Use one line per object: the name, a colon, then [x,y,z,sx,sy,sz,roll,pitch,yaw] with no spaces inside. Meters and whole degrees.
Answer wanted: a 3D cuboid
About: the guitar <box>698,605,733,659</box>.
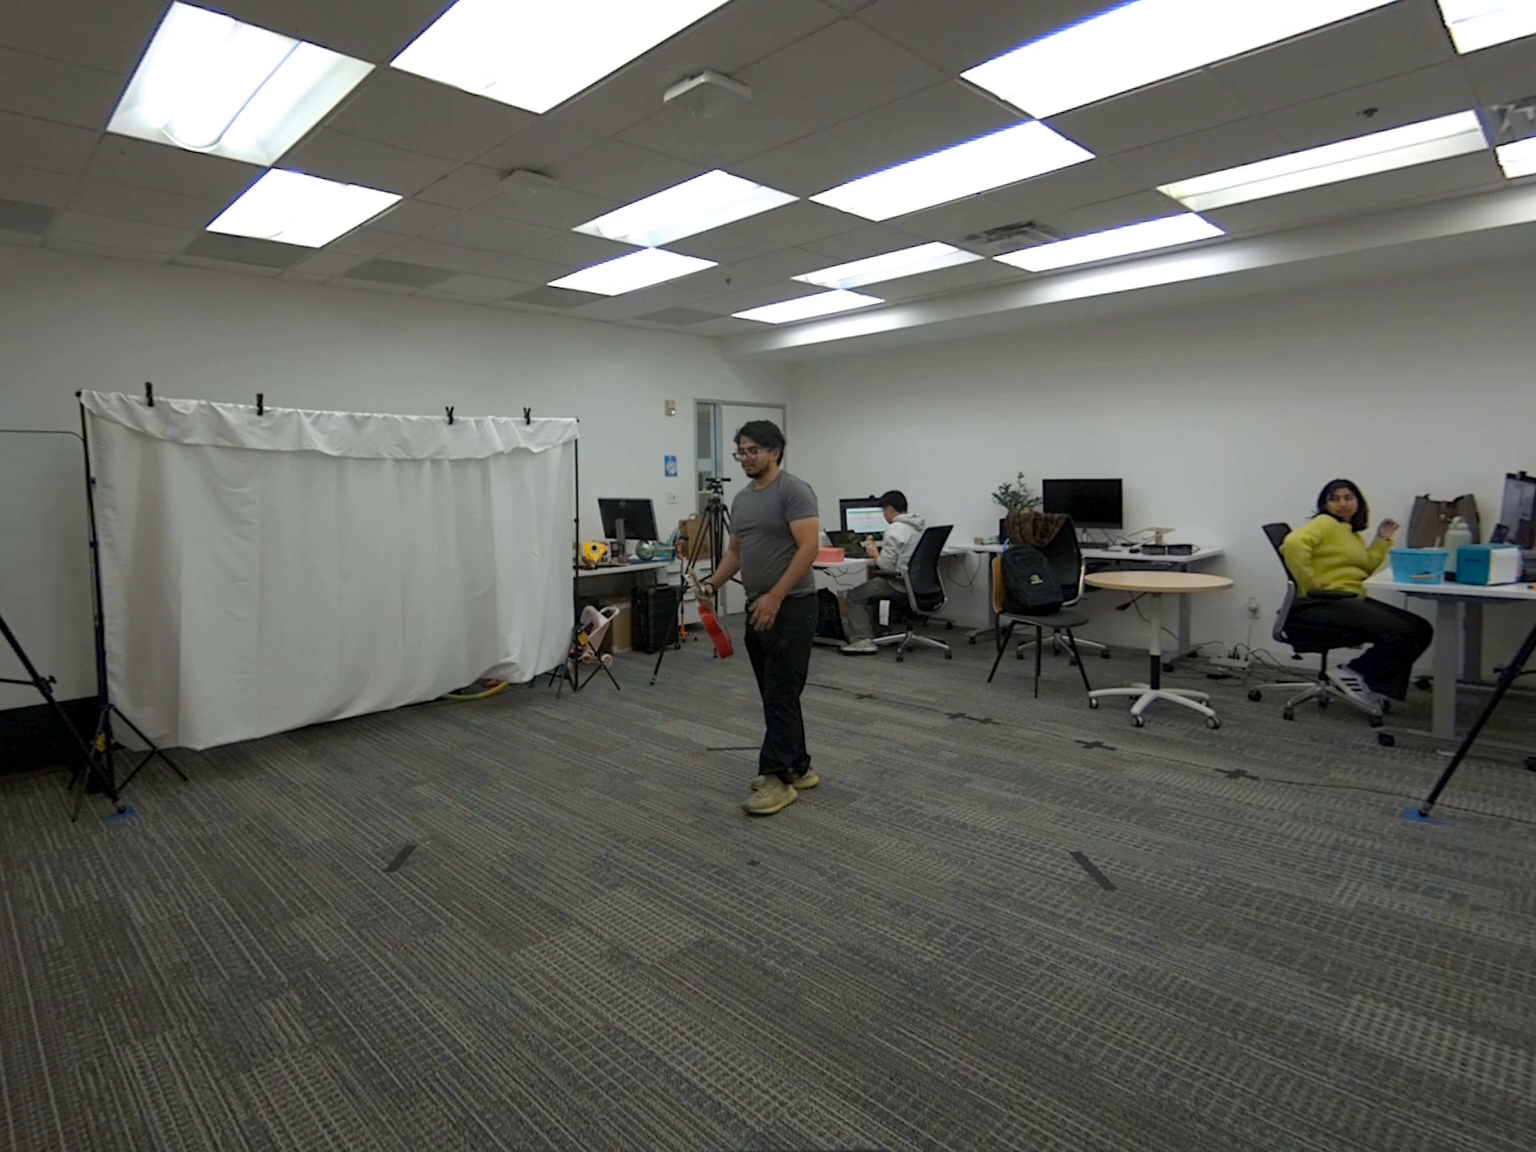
guitar: [-0.267,0.135,3.836,0.071,0.485,0.197,-23,23,4]
